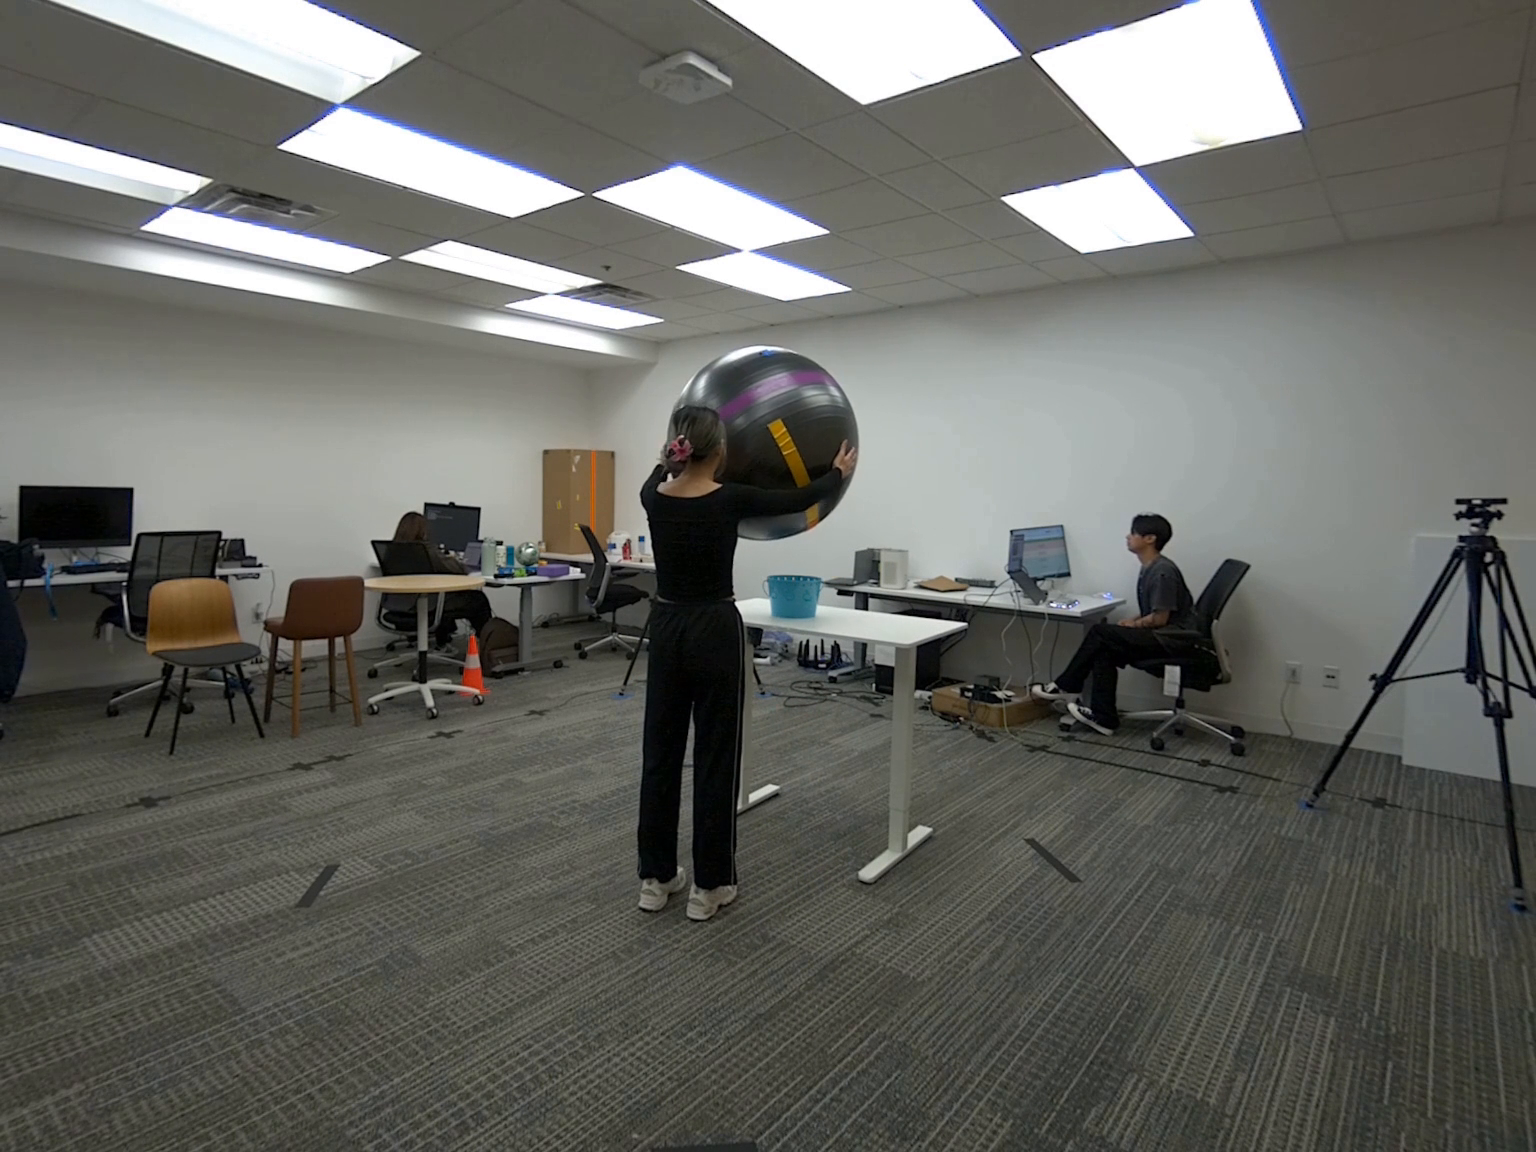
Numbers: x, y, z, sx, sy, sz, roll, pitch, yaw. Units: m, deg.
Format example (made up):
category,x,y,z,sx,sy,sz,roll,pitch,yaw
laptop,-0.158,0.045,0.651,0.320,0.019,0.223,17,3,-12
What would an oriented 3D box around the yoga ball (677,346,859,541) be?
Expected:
category,x,y,z,sx,sy,sz,roll,pitch,yaw
yoga ball,-0.029,-0.516,3.364,0.757,0.756,0.761,1,4,-2
